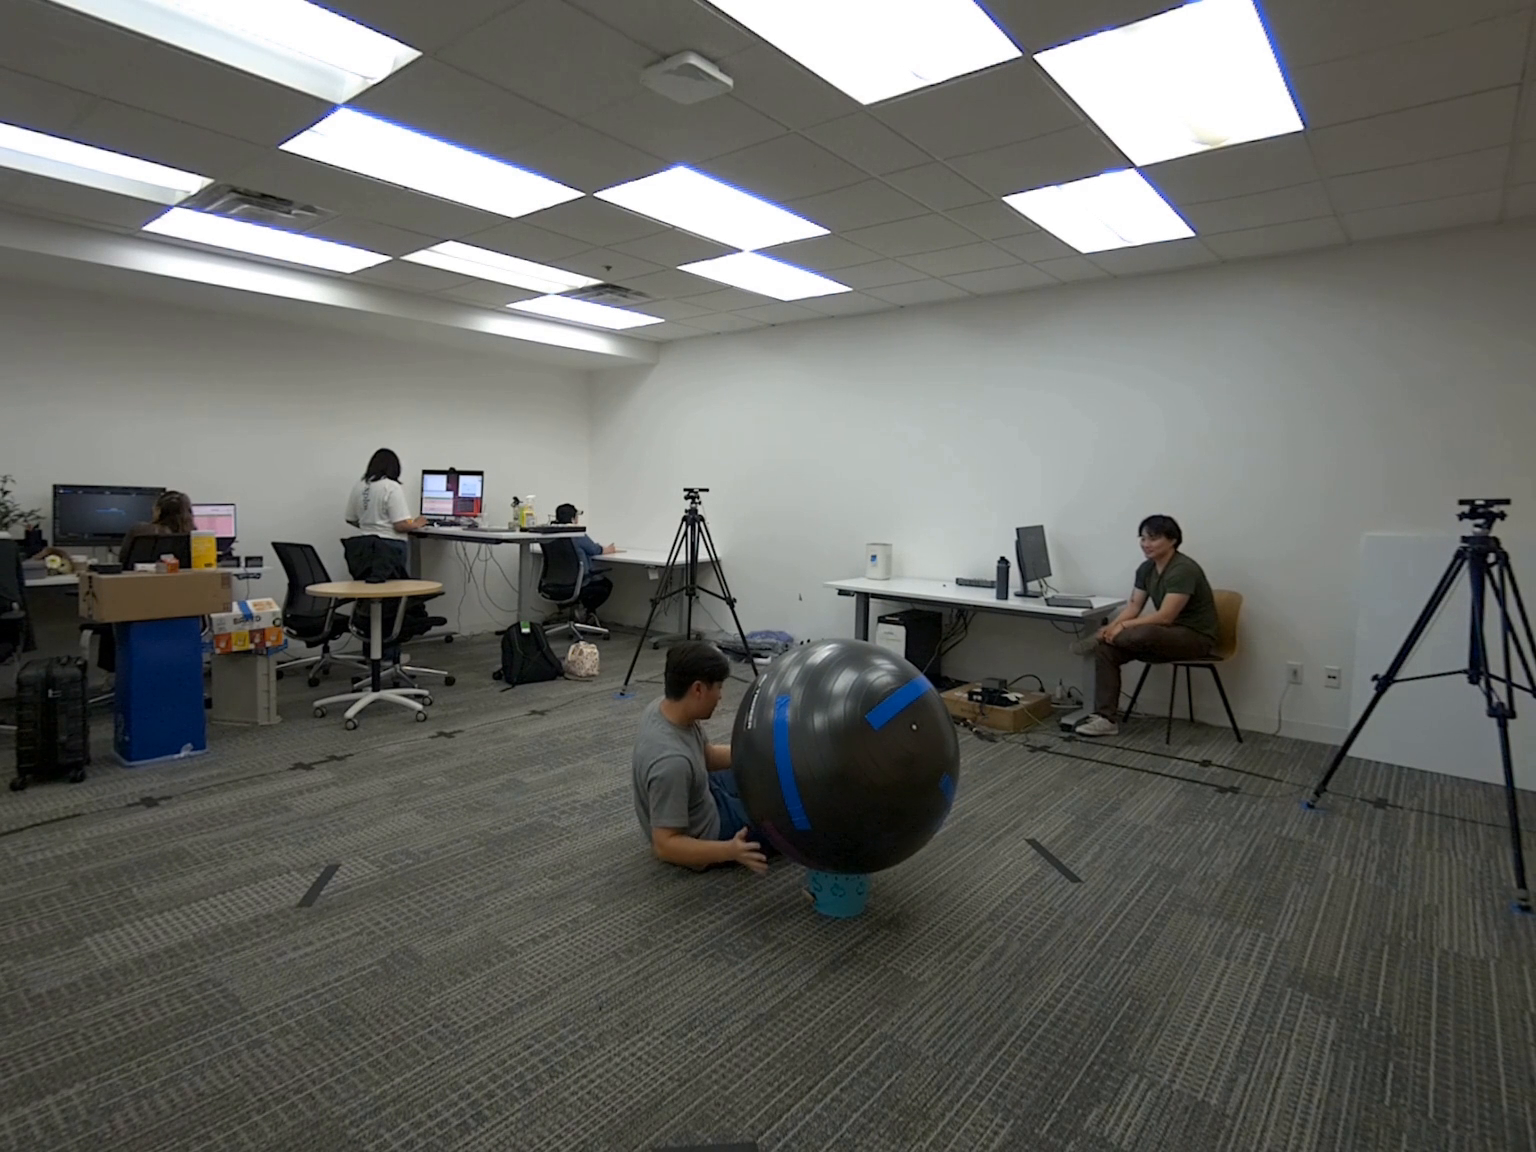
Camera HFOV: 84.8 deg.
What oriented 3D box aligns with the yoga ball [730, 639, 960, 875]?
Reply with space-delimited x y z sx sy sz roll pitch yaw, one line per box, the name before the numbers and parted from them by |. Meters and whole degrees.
yoga ball | 0.242 0.594 2.858 0.757 0.756 0.762 1 4 -2
